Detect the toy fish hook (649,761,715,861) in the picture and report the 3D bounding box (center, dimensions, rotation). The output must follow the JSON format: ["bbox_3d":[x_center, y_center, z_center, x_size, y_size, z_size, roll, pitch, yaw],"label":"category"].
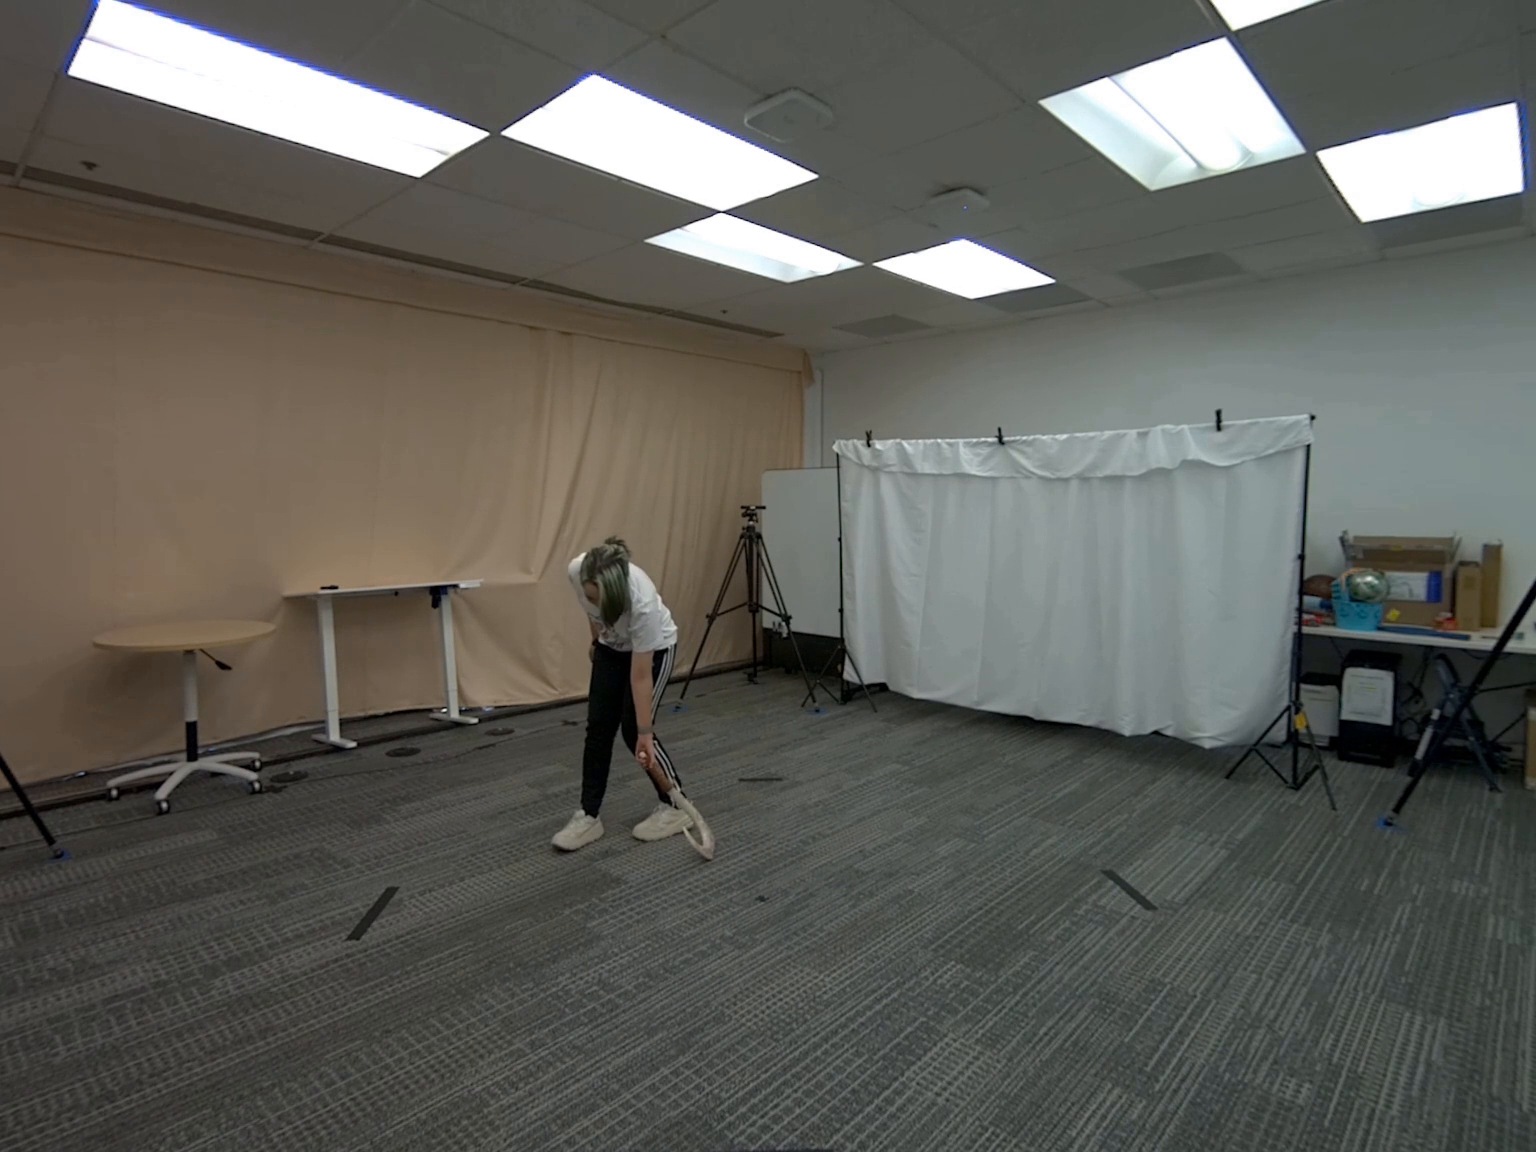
[{"bbox_3d":[-0.361,0.903,3.320,0.048,0.502,0.226,-35,8,3],"label":"toy fish hook"}]
